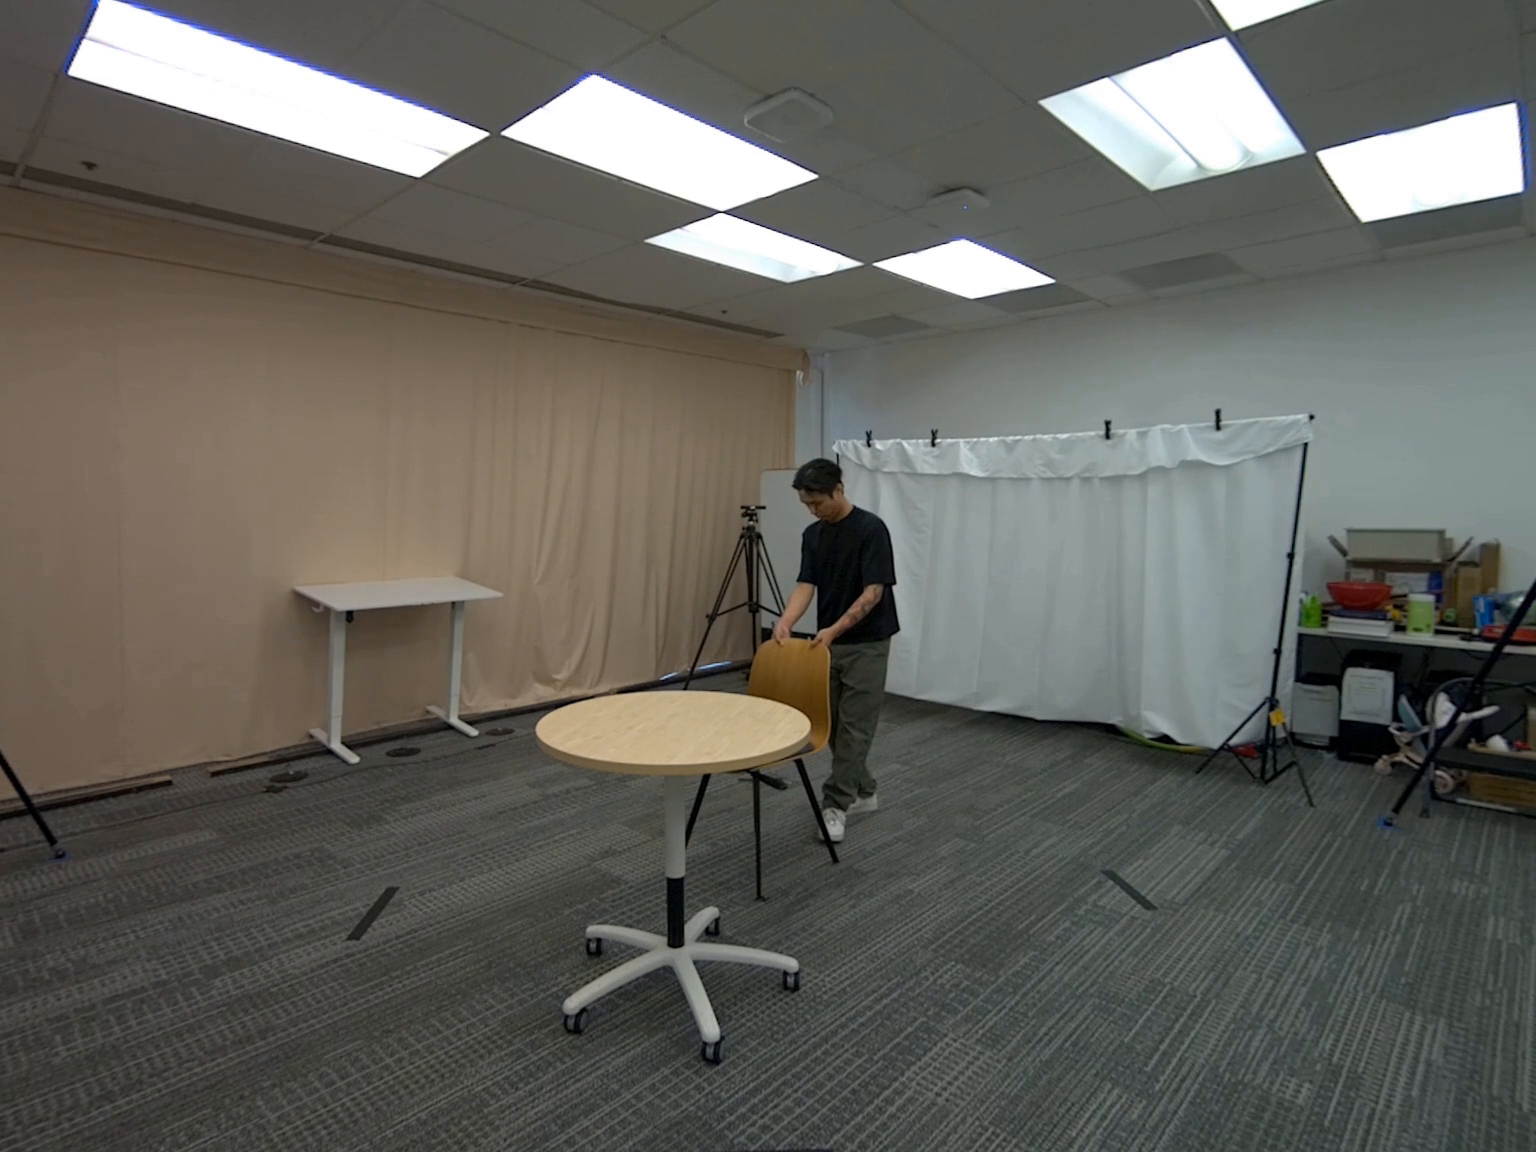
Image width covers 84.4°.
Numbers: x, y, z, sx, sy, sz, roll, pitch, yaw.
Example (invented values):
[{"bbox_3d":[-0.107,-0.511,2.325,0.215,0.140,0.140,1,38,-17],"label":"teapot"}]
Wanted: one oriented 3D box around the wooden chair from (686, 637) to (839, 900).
[{"bbox_3d":[-0.046,0.693,3.246,0.494,0.877,0.506,3,1,45],"label":"wooden chair"}]
